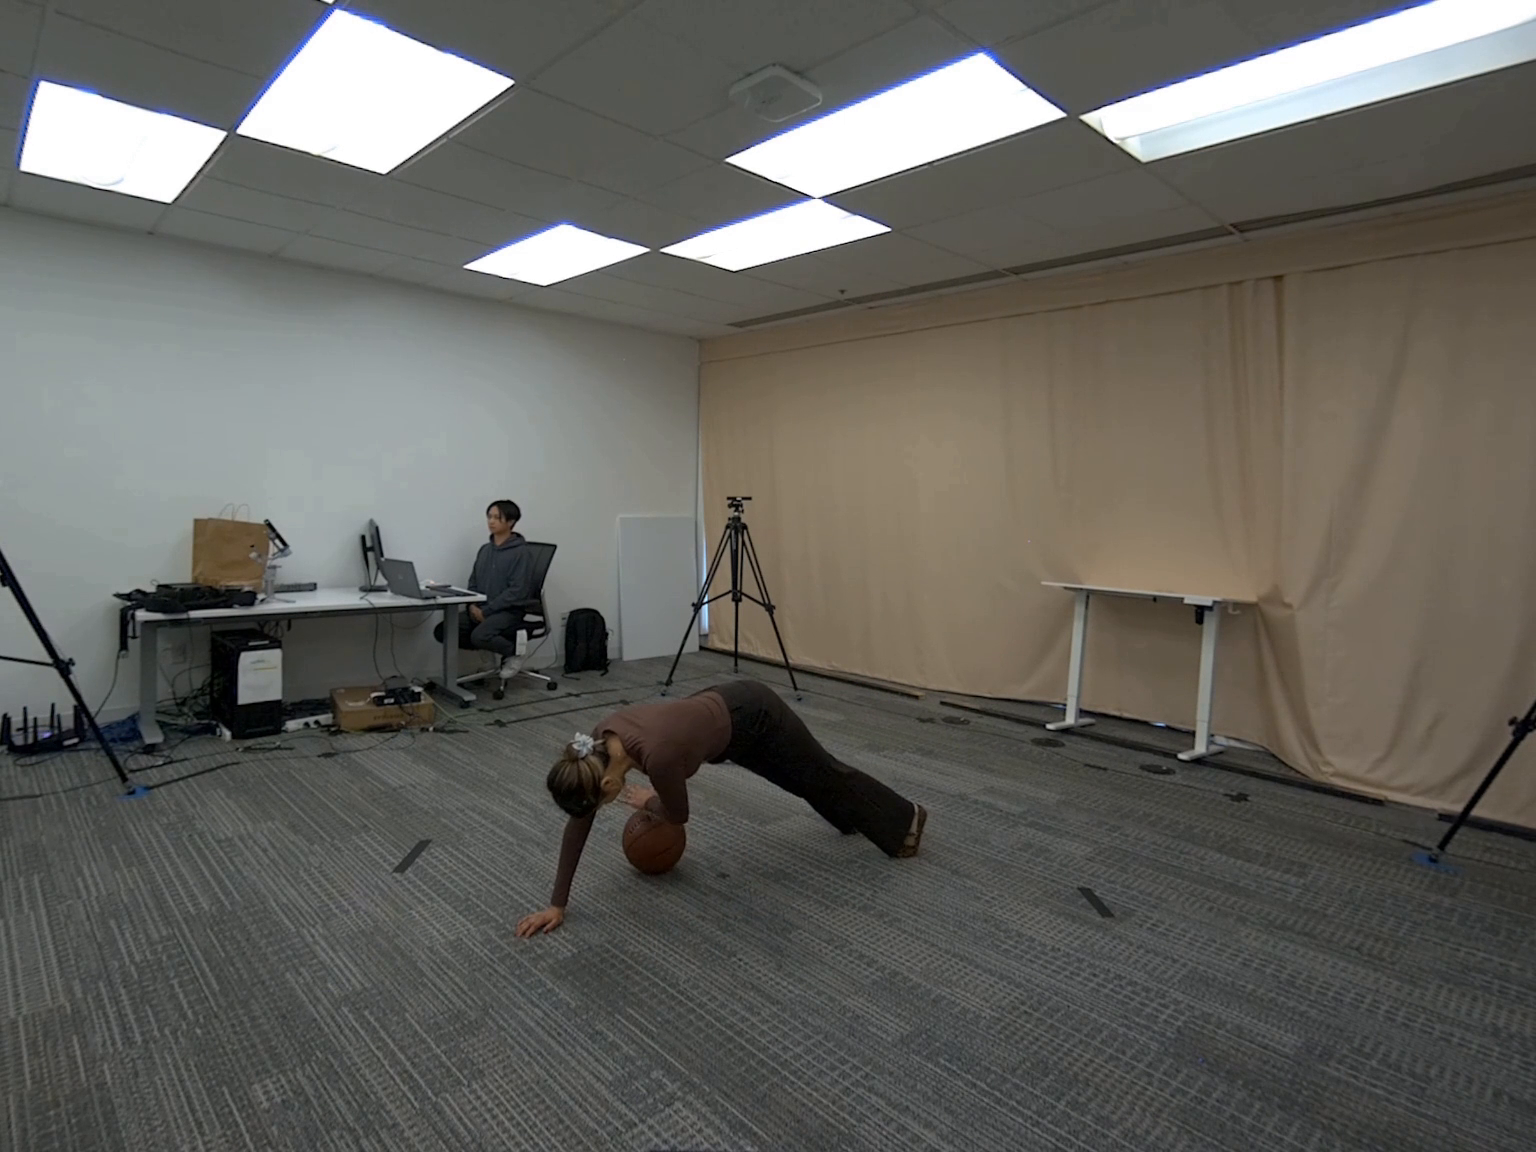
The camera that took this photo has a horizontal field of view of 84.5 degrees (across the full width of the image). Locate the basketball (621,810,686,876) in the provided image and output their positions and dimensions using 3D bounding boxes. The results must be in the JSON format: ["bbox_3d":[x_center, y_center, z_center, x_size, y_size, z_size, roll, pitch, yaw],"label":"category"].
[{"bbox_3d":[-0.429,0.978,3.123,0.236,0.235,0.237,1,4,-1],"label":"basketball"}]
